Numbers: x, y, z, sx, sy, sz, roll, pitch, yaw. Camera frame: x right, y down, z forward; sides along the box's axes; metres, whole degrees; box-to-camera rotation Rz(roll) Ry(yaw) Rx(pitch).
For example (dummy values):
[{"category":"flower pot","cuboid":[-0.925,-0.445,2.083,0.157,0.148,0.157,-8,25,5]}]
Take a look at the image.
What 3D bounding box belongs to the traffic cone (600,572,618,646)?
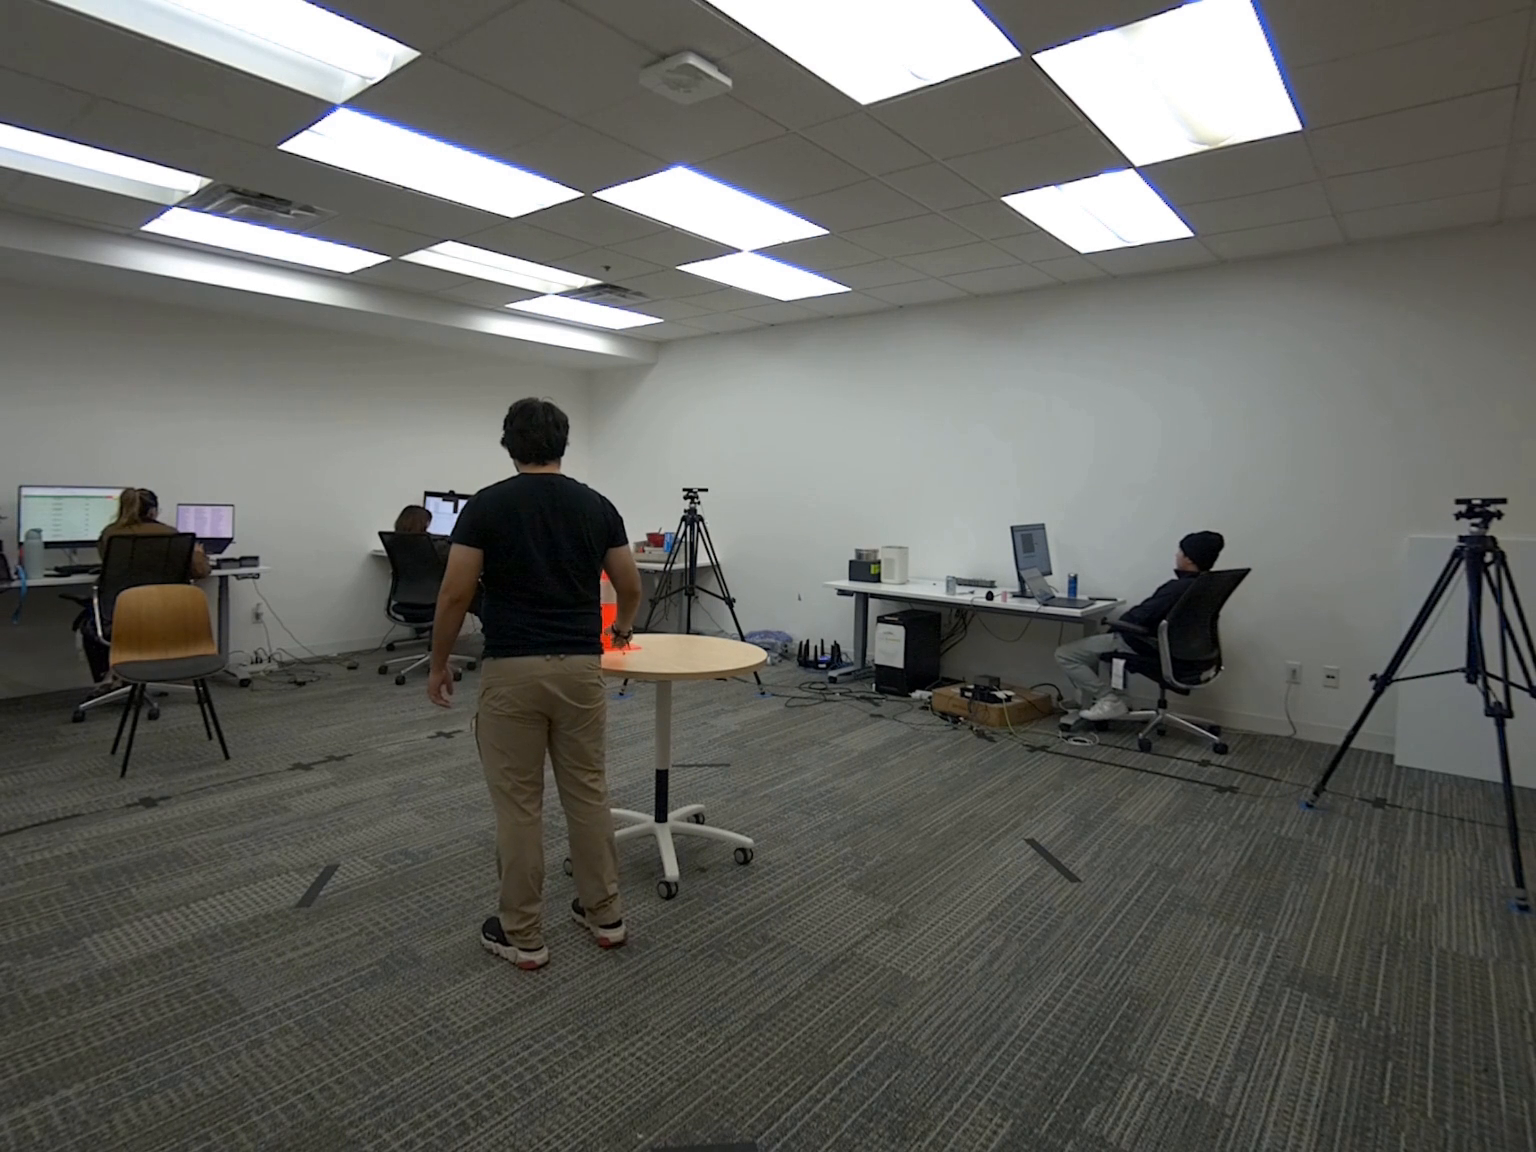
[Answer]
[{"category":"traffic cone","cuboid":[-0.607,0.079,3.220,0.197,0.382,0.212,-1,5,-39]}]
